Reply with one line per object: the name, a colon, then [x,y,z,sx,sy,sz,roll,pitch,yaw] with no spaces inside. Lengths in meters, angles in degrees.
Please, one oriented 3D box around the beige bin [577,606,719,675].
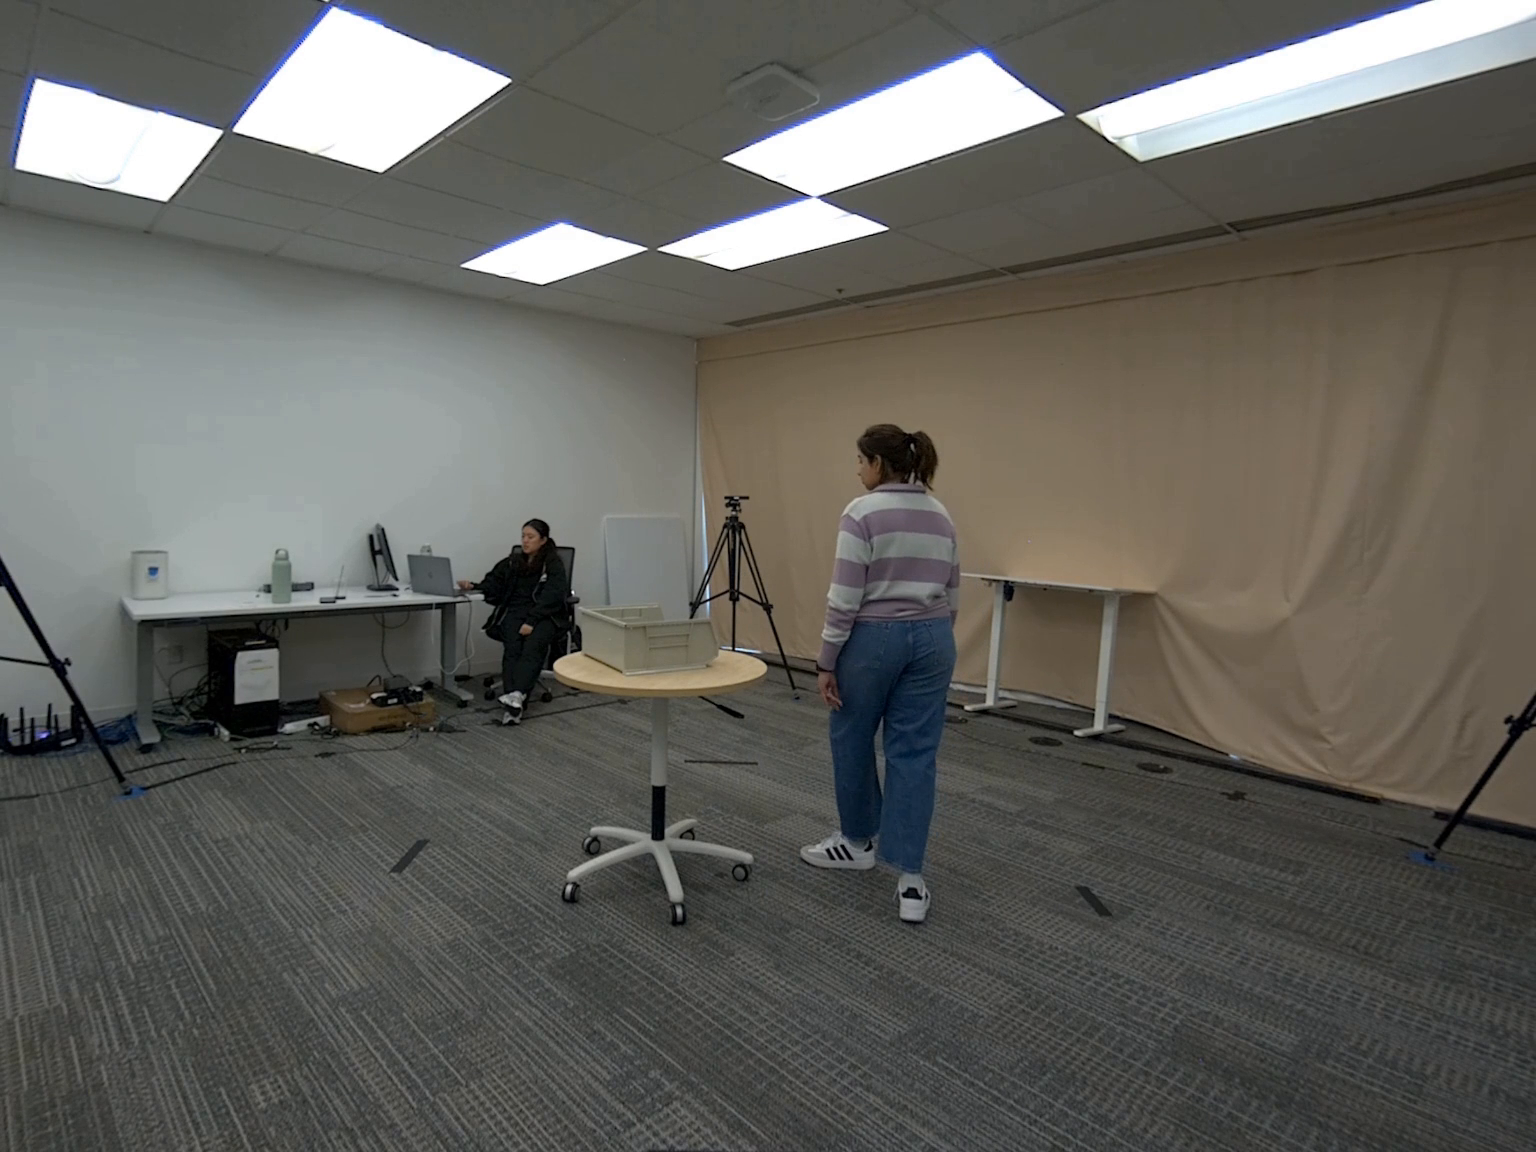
beige bin: [-0.447,0.224,3.096,0.370,0.188,0.433,-3,7,-33]
